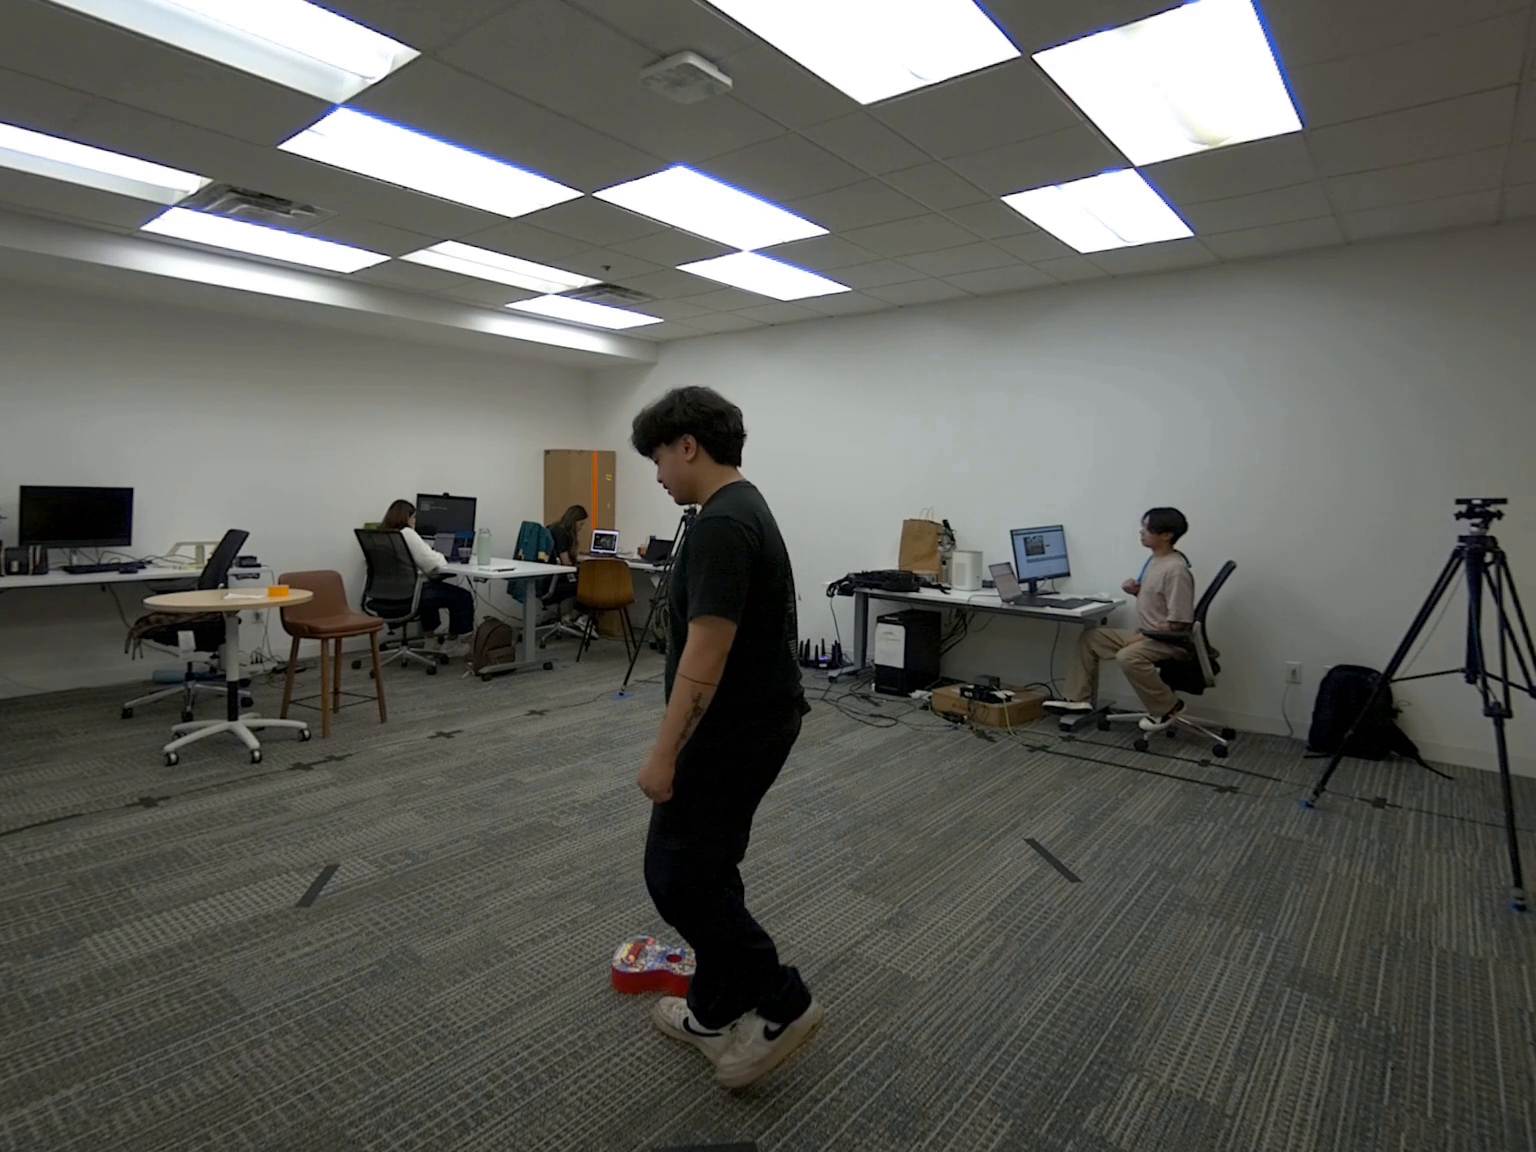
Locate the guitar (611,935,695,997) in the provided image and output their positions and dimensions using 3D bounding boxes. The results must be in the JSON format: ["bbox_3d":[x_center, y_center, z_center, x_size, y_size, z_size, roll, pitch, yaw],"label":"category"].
[{"bbox_3d":[-0.206,1.108,2.361,0.508,0.070,0.189,2,5,20],"label":"guitar"}]
